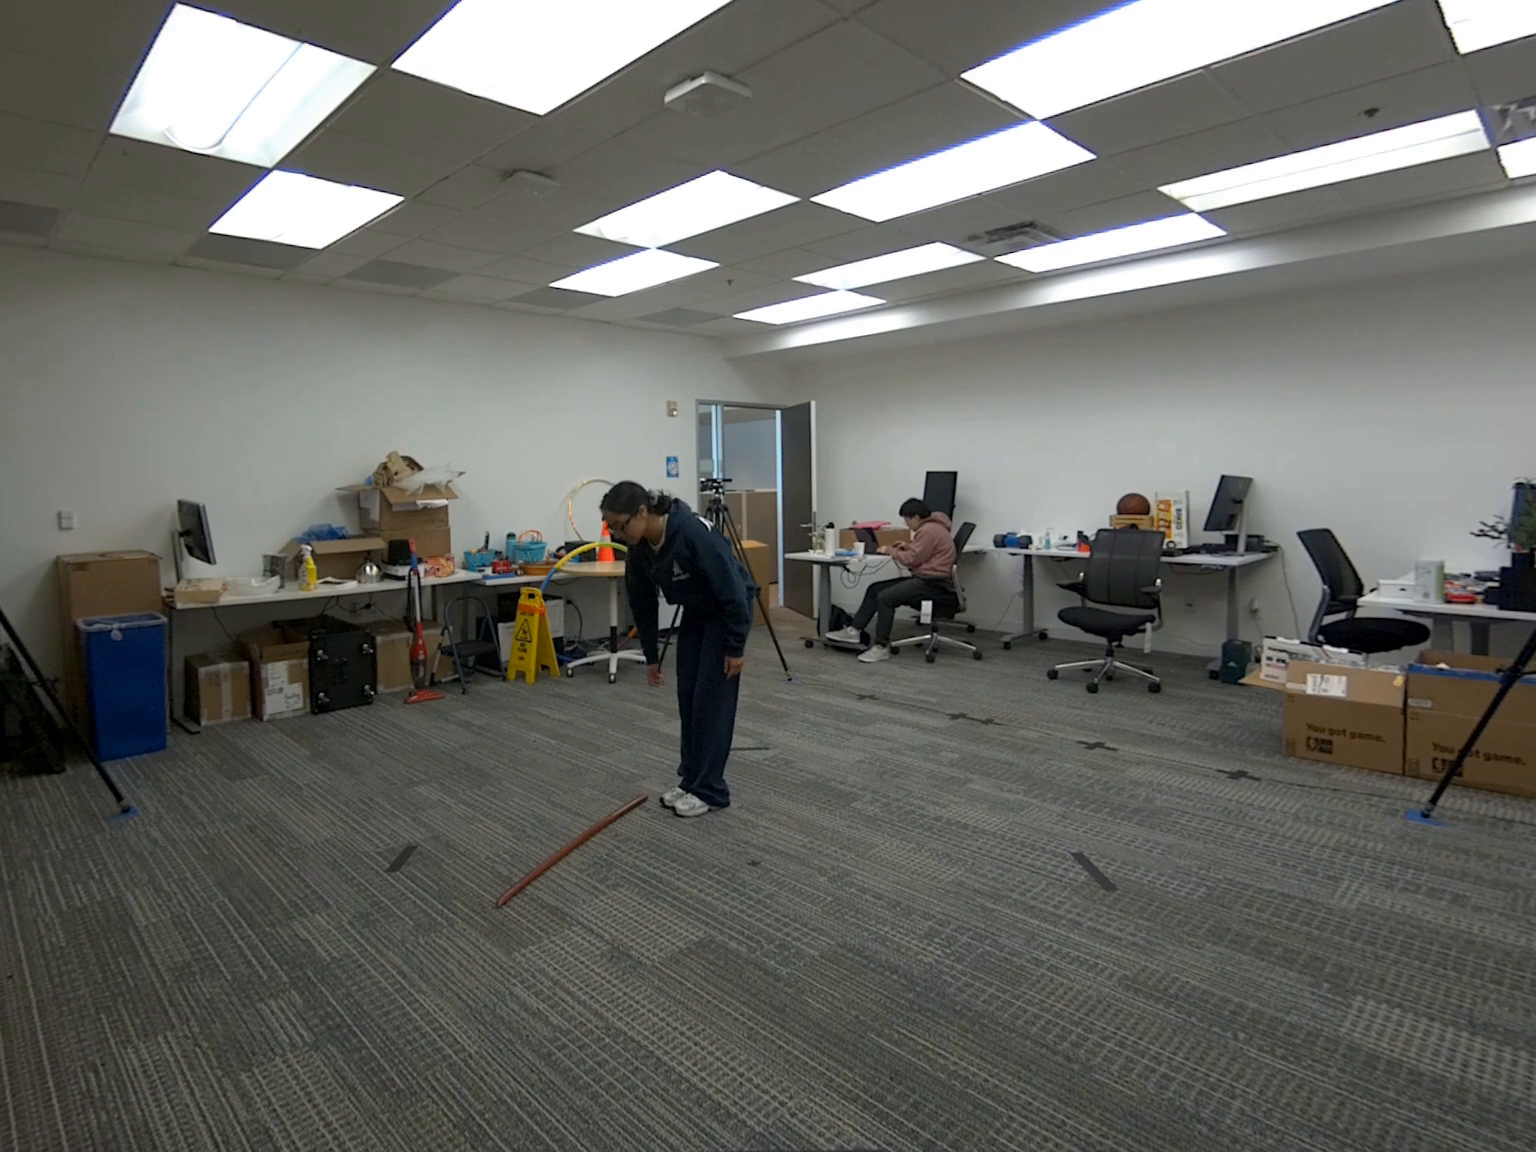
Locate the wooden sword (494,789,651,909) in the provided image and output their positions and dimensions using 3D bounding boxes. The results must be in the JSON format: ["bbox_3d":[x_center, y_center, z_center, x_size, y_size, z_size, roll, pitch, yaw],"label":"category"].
[{"bbox_3d":[-0.713,1.015,3.302,0.052,0.024,1.010,4,8,19],"label":"wooden sword"}]
